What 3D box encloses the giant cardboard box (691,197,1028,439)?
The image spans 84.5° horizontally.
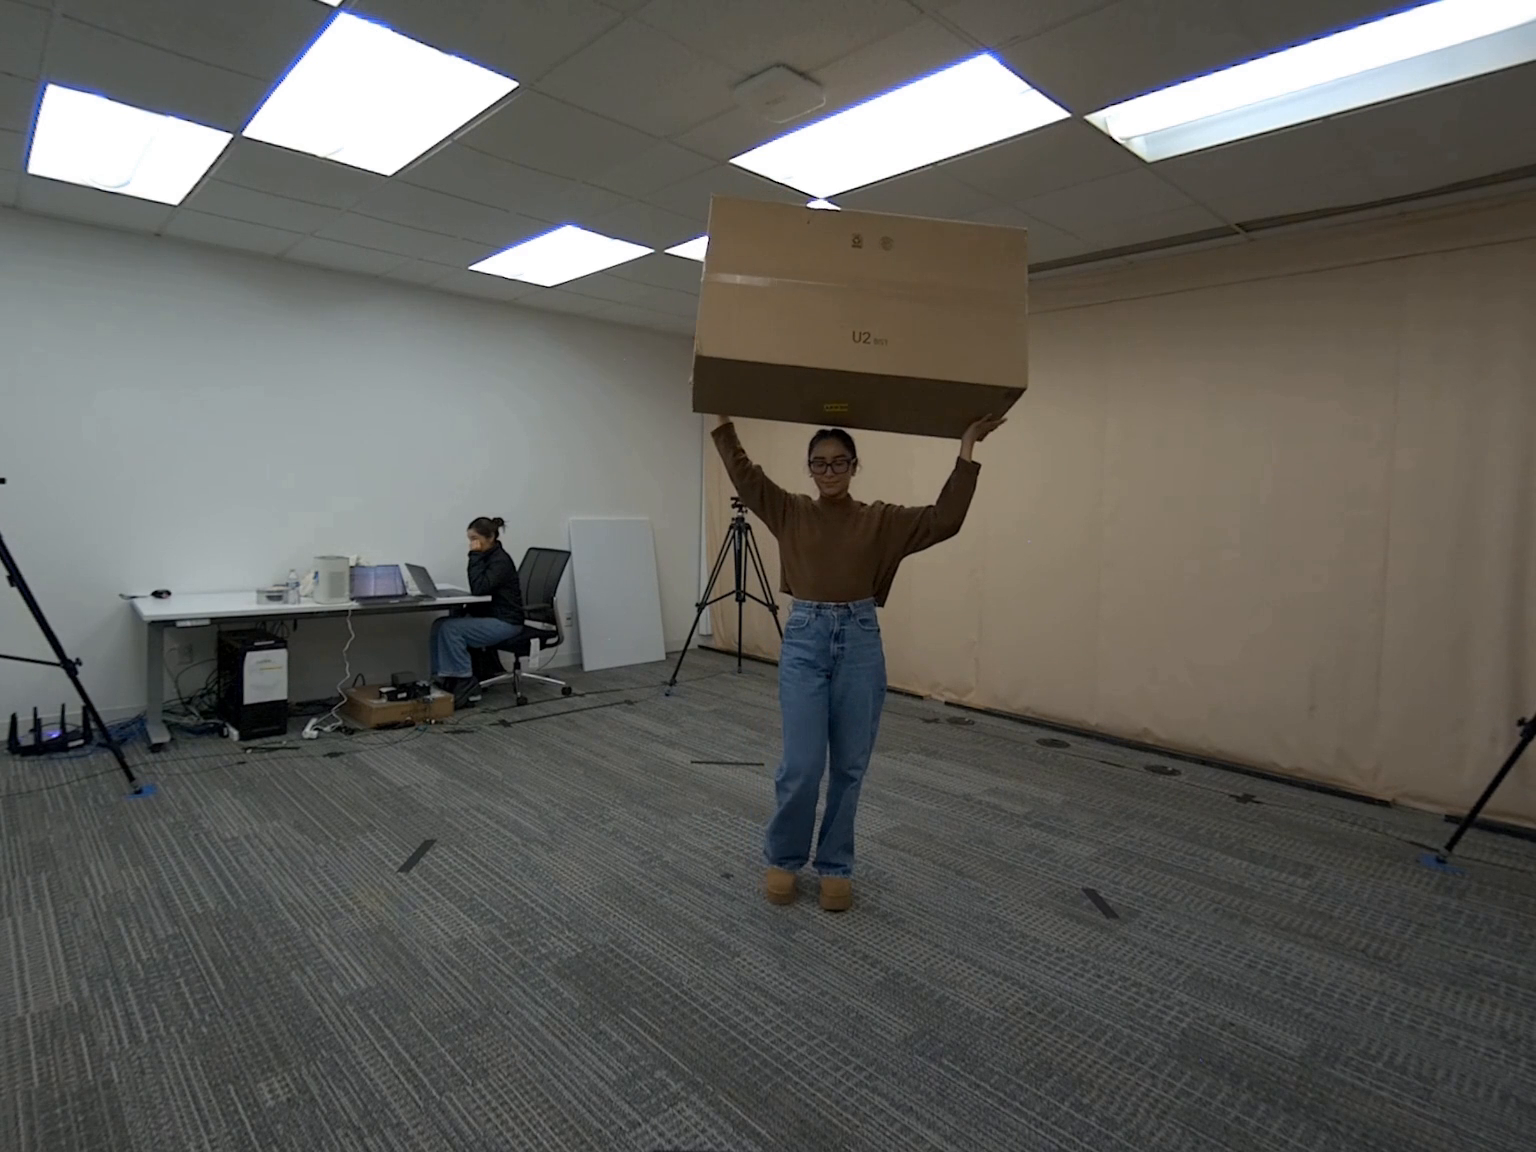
[{"bbox_3d":[0.279,-0.846,2.815,1.024,0.583,0.422,6,-16,-2],"label":"giant cardboard box"}]
